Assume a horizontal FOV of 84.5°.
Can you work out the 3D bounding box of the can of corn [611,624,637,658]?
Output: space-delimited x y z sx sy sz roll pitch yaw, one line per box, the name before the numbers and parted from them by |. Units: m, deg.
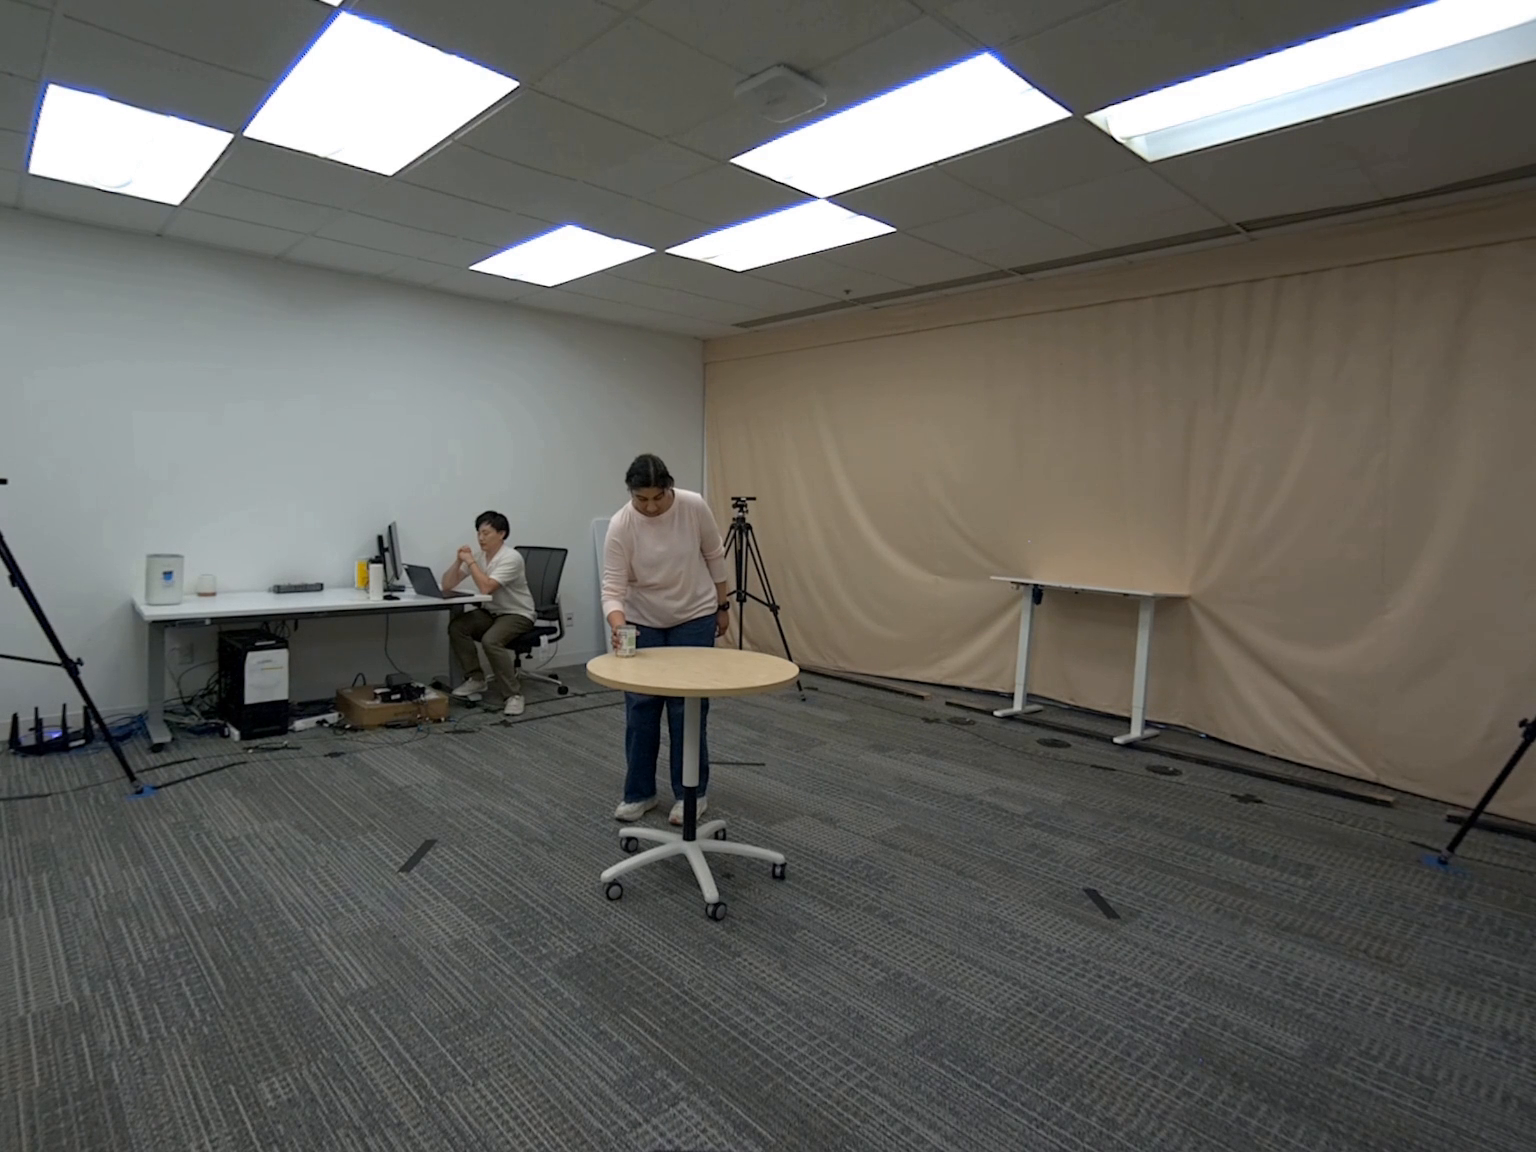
can of corn | -0.558 0.253 3.185 0.074 0.111 0.074 3 2 -2
